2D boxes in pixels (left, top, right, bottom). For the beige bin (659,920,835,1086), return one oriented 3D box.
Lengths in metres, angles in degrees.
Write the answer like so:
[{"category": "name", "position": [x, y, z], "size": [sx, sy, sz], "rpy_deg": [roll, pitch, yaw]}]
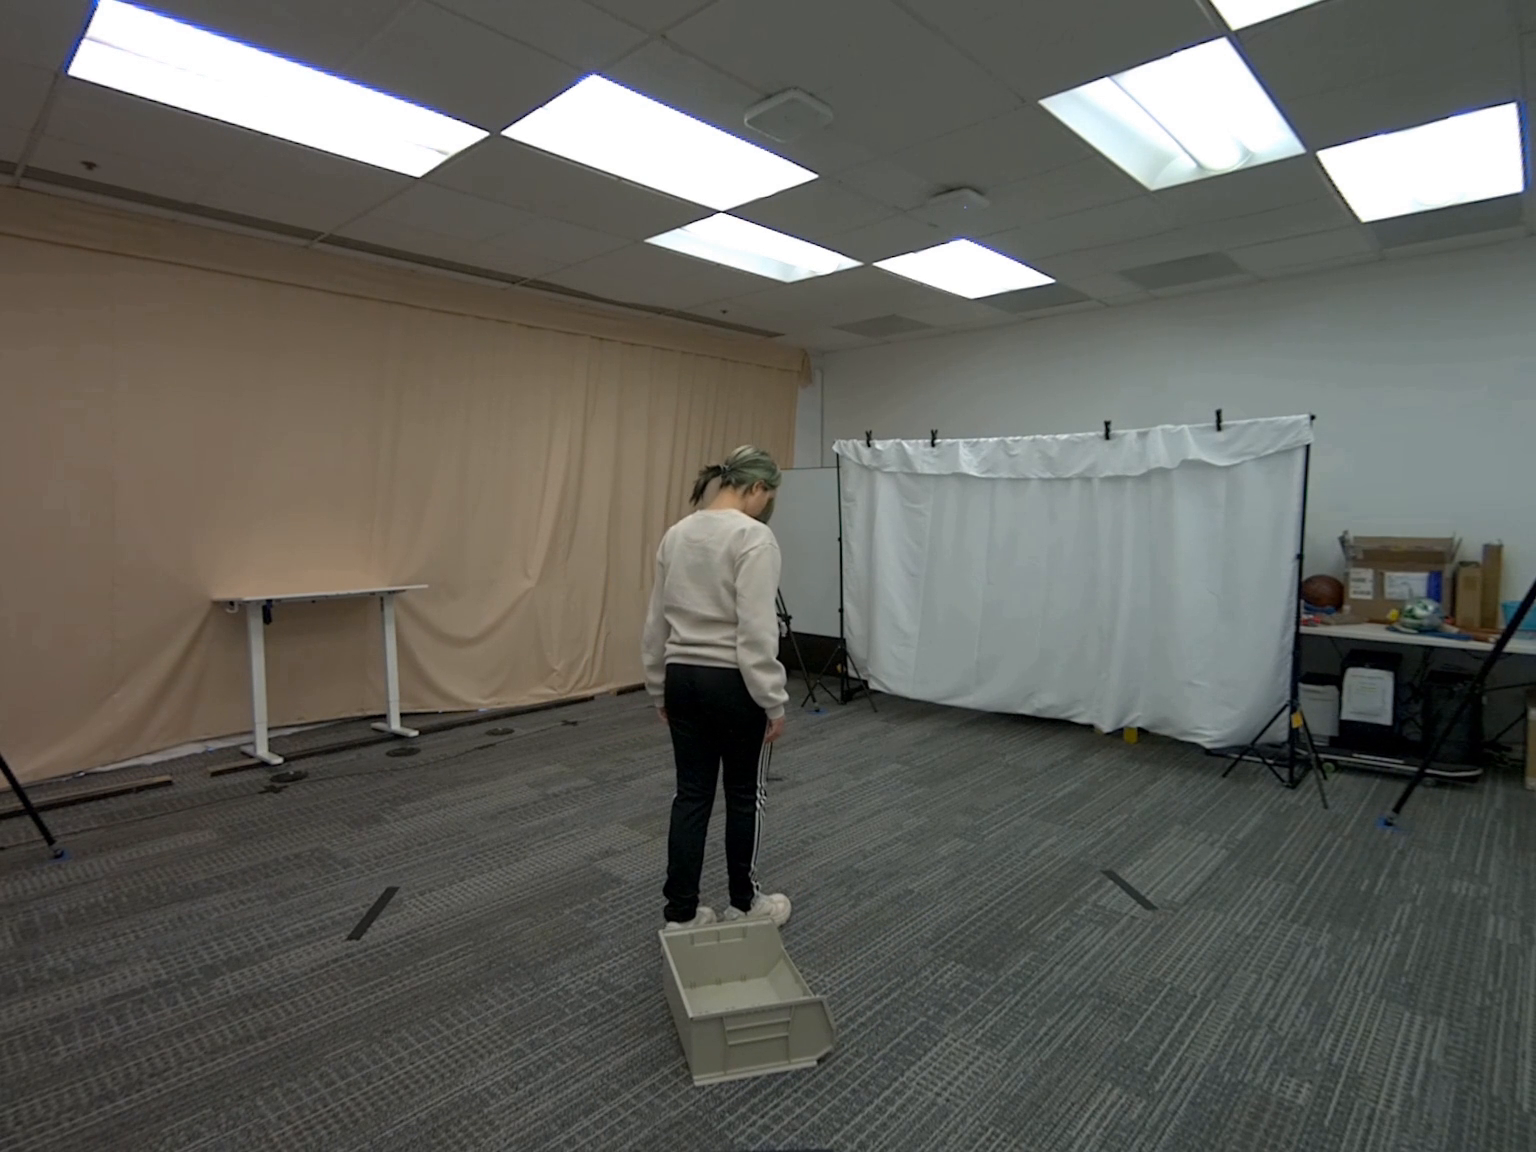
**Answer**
[{"category": "beige bin", "position": [-0.067, 1.113, 2.255], "size": [0.371, 0.188, 0.430], "rpy_deg": [-2, 6, -16]}]
